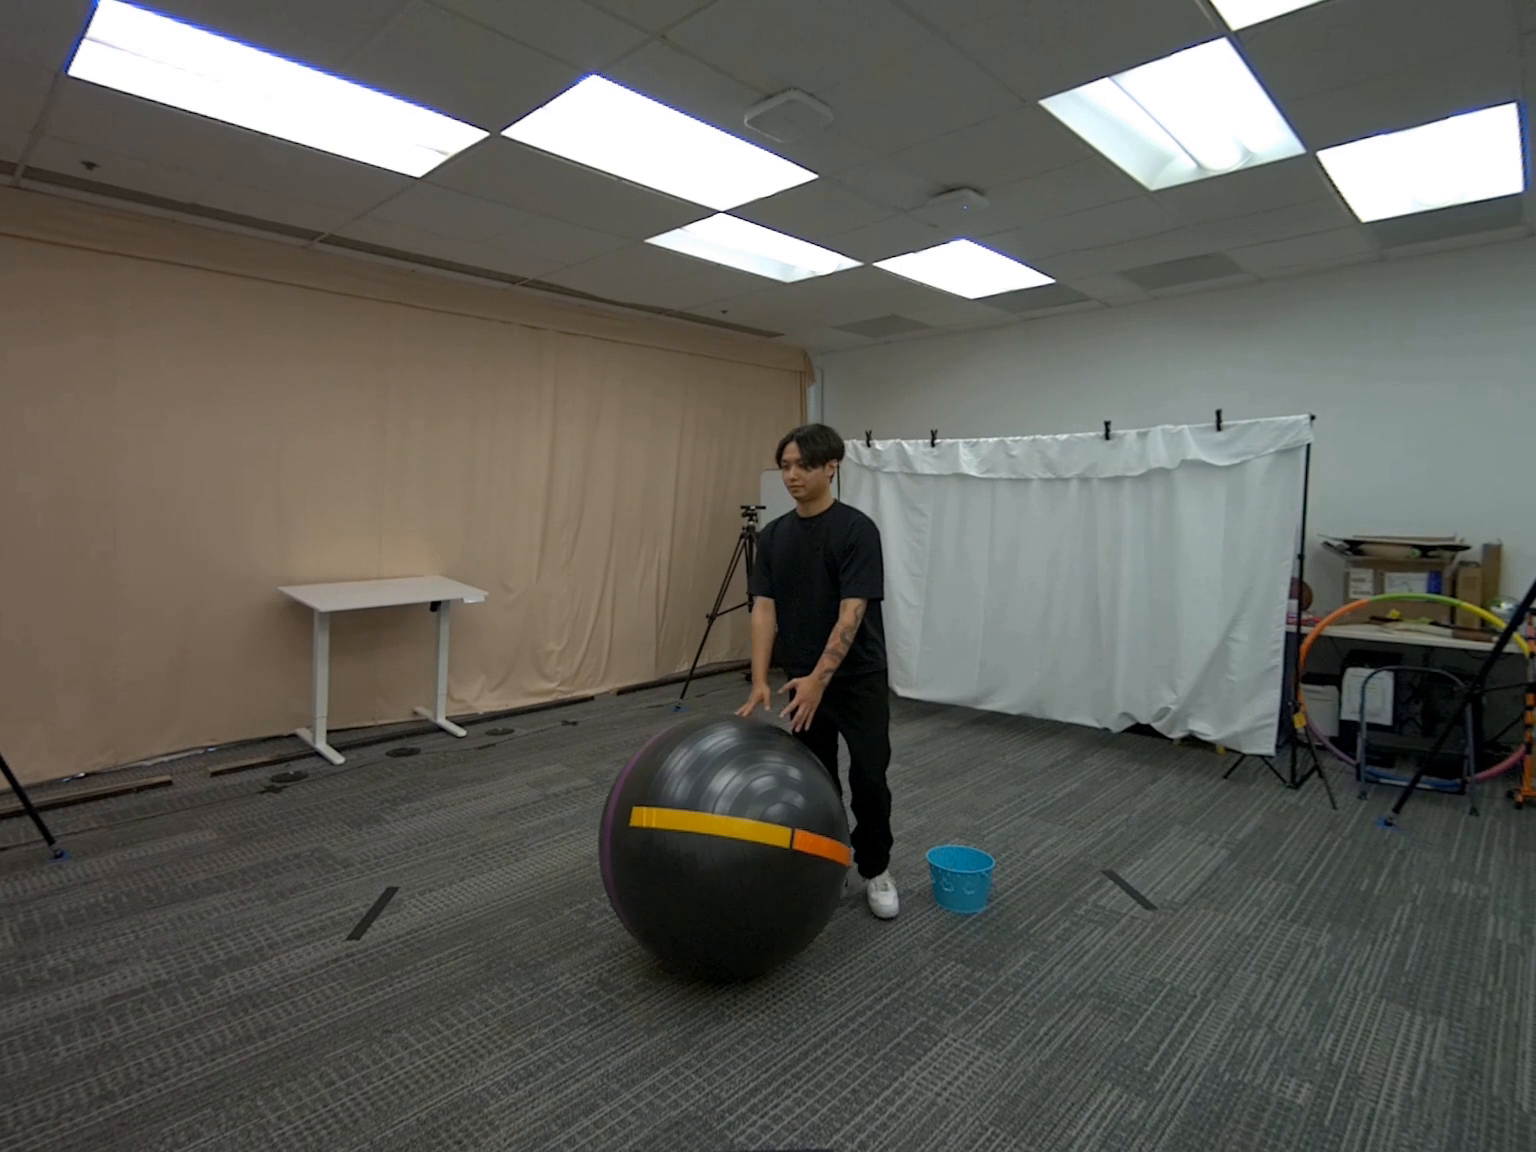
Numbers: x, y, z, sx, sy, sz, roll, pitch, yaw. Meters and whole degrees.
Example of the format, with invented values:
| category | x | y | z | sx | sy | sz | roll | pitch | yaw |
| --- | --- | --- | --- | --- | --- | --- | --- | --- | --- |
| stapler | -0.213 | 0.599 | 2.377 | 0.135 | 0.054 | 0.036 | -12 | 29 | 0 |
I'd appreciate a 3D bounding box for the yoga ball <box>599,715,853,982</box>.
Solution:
| category | x | y | z | sx | sy | sz | roll | pitch | yaw |
| --- | --- | --- | --- | --- | --- | --- | --- | --- | --- |
| yoga ball | -0.141 | 0.813 | 2.568 | 0.757 | 0.756 | 0.760 | 0 | 4 | -2 |
